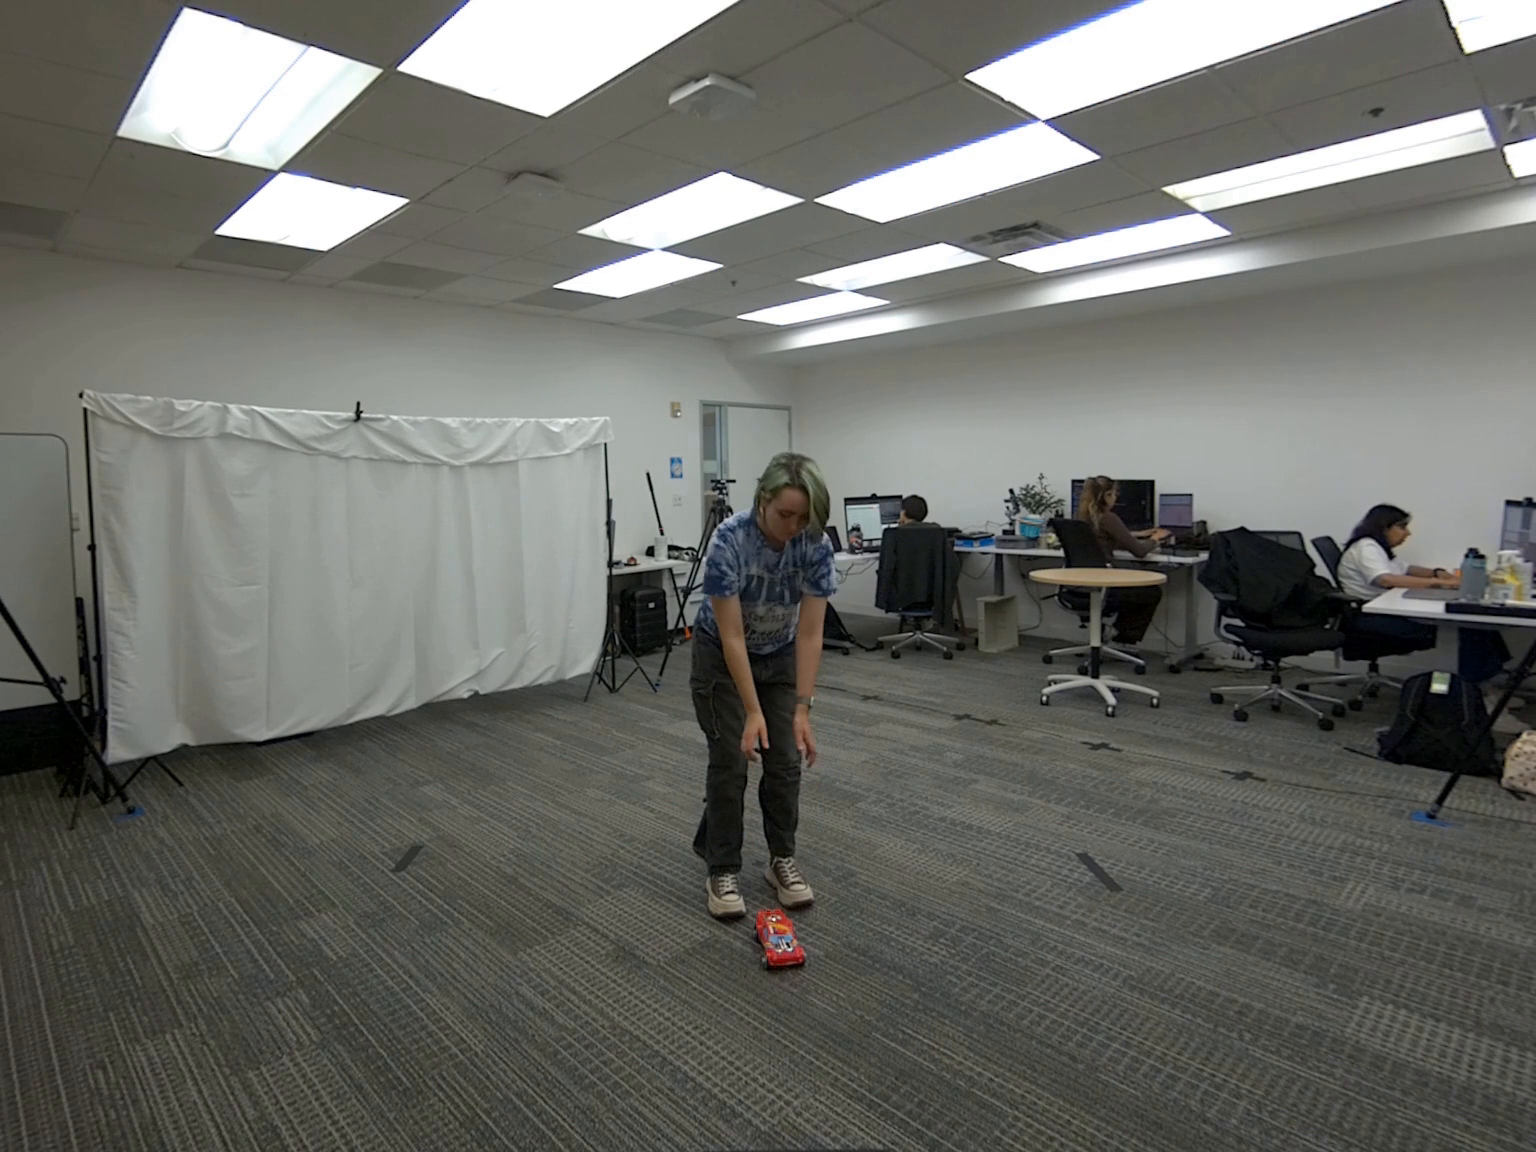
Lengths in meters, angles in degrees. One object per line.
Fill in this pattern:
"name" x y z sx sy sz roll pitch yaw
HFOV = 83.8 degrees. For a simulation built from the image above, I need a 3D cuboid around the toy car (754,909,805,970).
"toy car" 0.031 1.083 2.538 0.129 0.082 0.260 -3 16 -9
